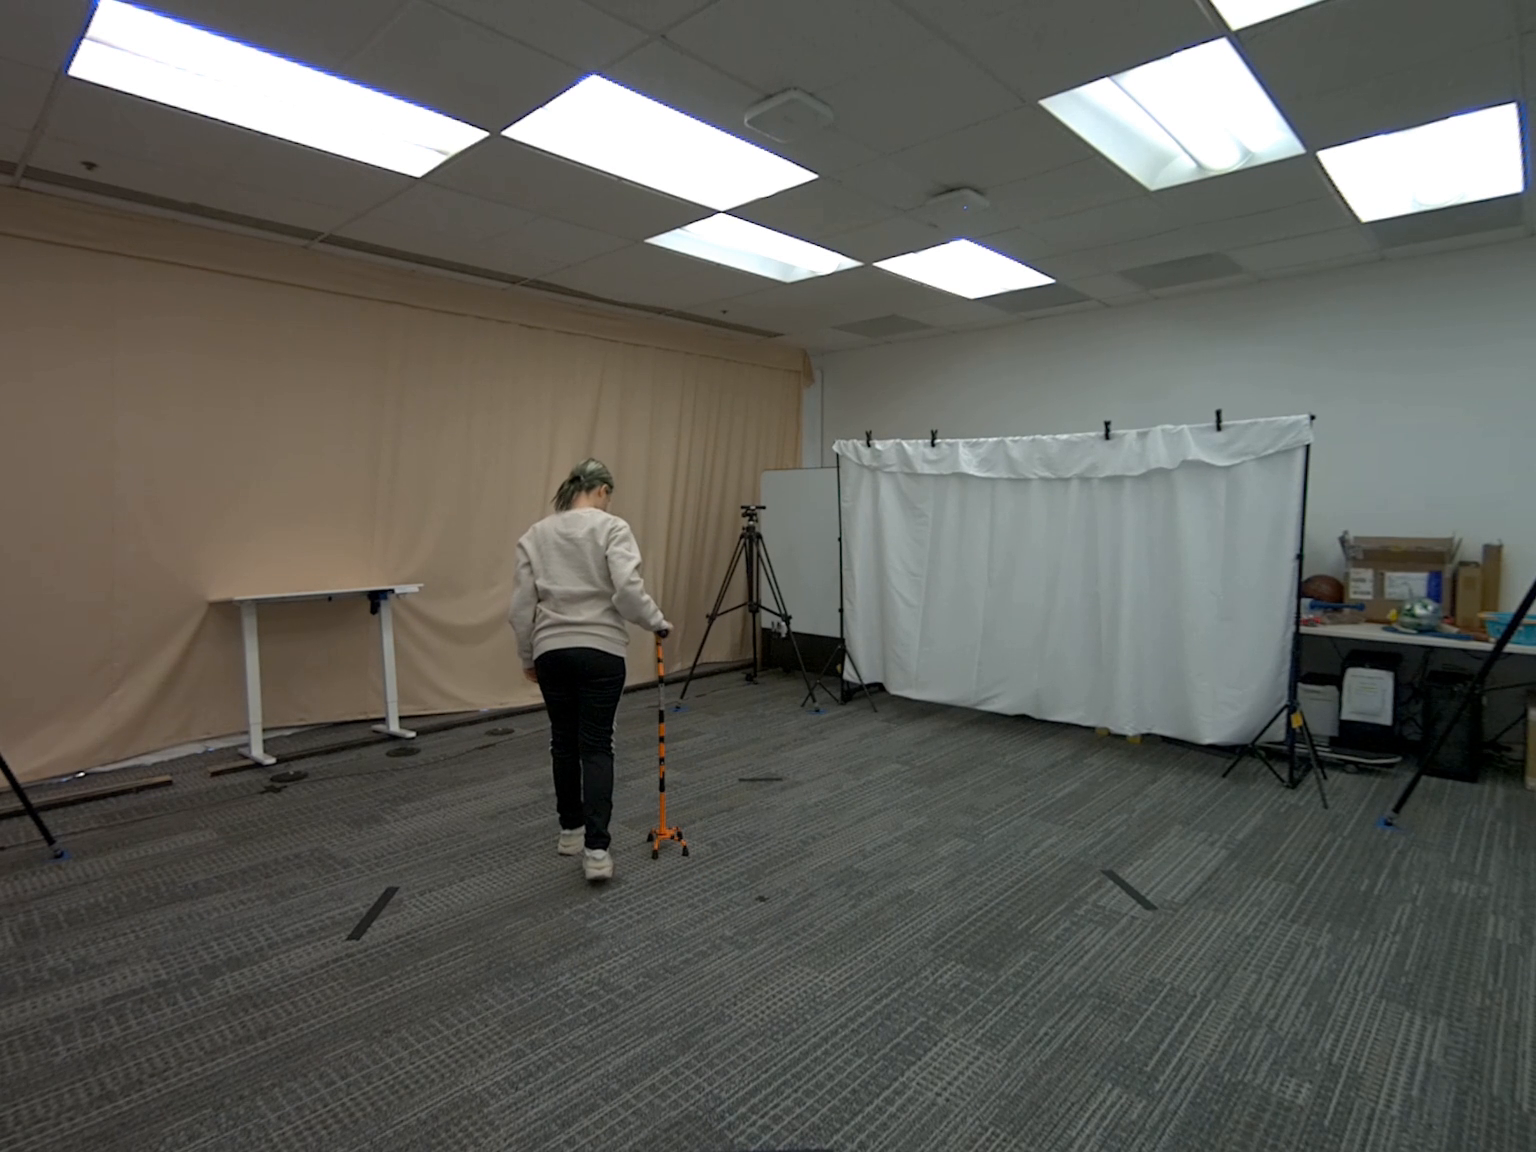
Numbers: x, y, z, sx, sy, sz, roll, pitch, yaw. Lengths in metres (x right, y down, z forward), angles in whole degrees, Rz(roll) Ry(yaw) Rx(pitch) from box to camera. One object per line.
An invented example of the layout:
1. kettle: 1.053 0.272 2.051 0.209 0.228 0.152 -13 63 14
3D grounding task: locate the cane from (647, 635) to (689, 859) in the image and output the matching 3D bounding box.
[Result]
1. cane: -0.420 0.663 3.419 0.149 0.907 0.210 -2 1 -16
